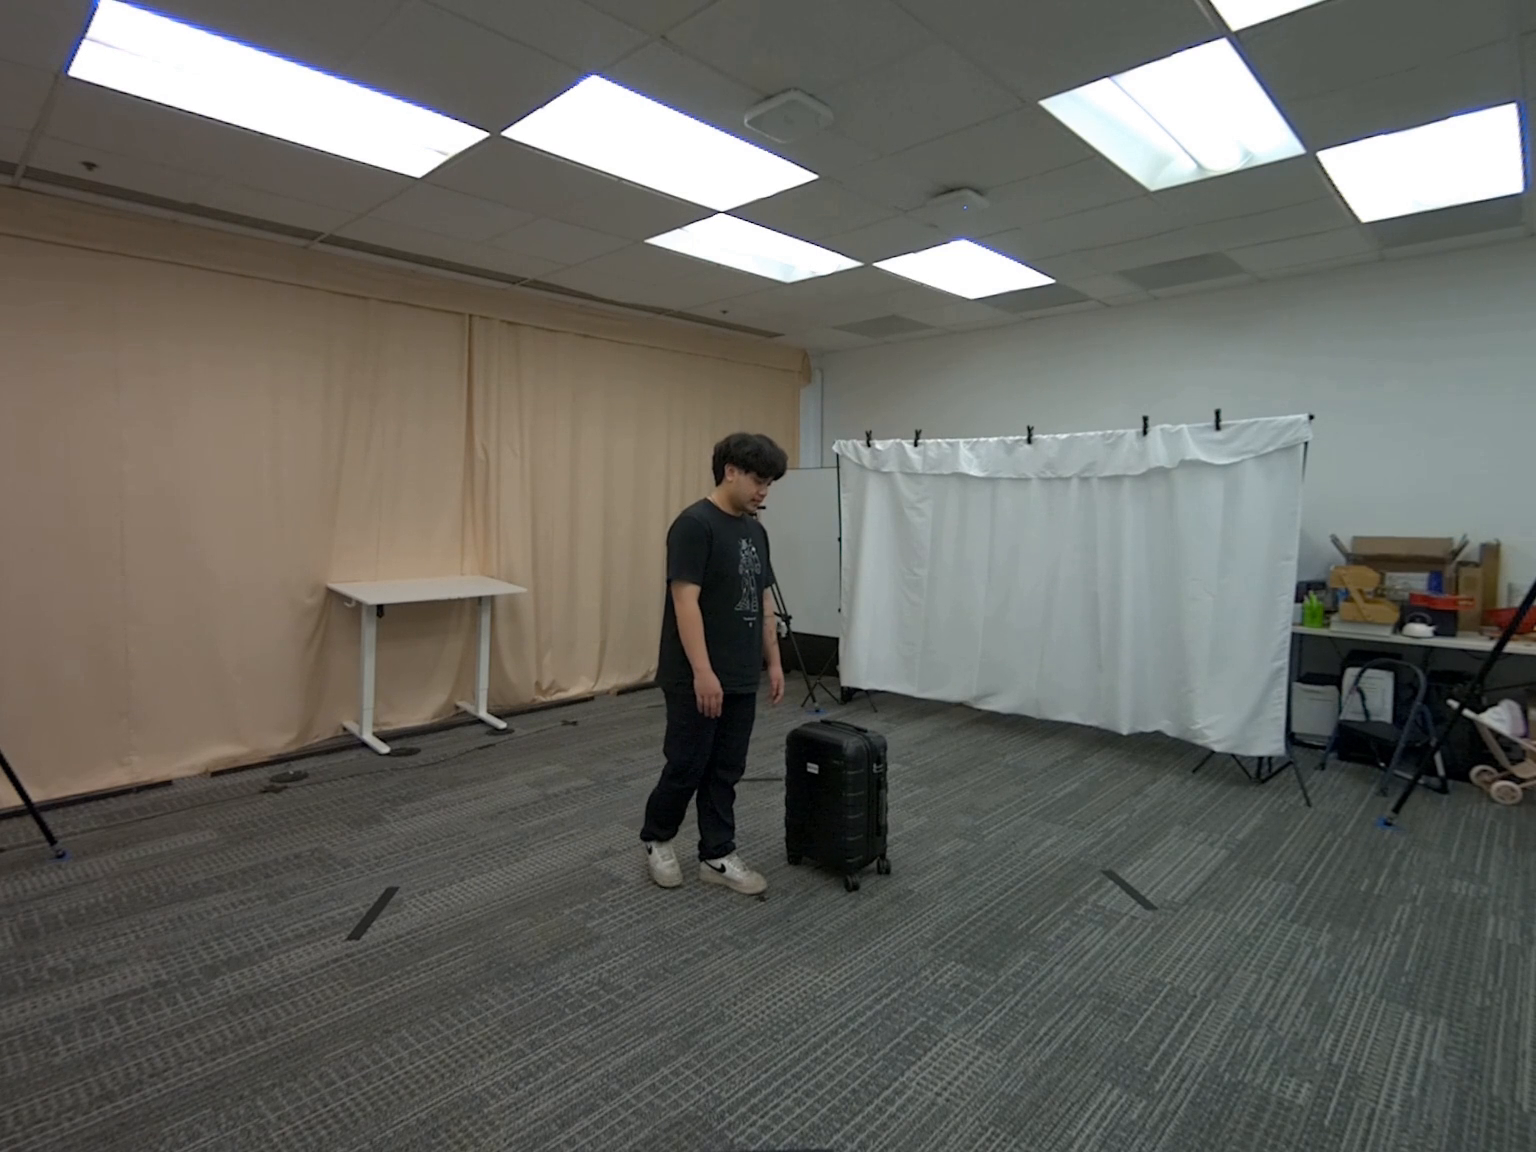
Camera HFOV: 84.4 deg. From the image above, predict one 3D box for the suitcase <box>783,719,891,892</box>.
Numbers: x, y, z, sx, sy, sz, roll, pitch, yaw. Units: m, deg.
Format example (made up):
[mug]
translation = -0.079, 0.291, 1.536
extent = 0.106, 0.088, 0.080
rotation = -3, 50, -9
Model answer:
[suitcase]
translation = 0.268, 0.844, 3.228
extent = 0.388, 0.548, 0.240
rotation = 4, 4, 45
